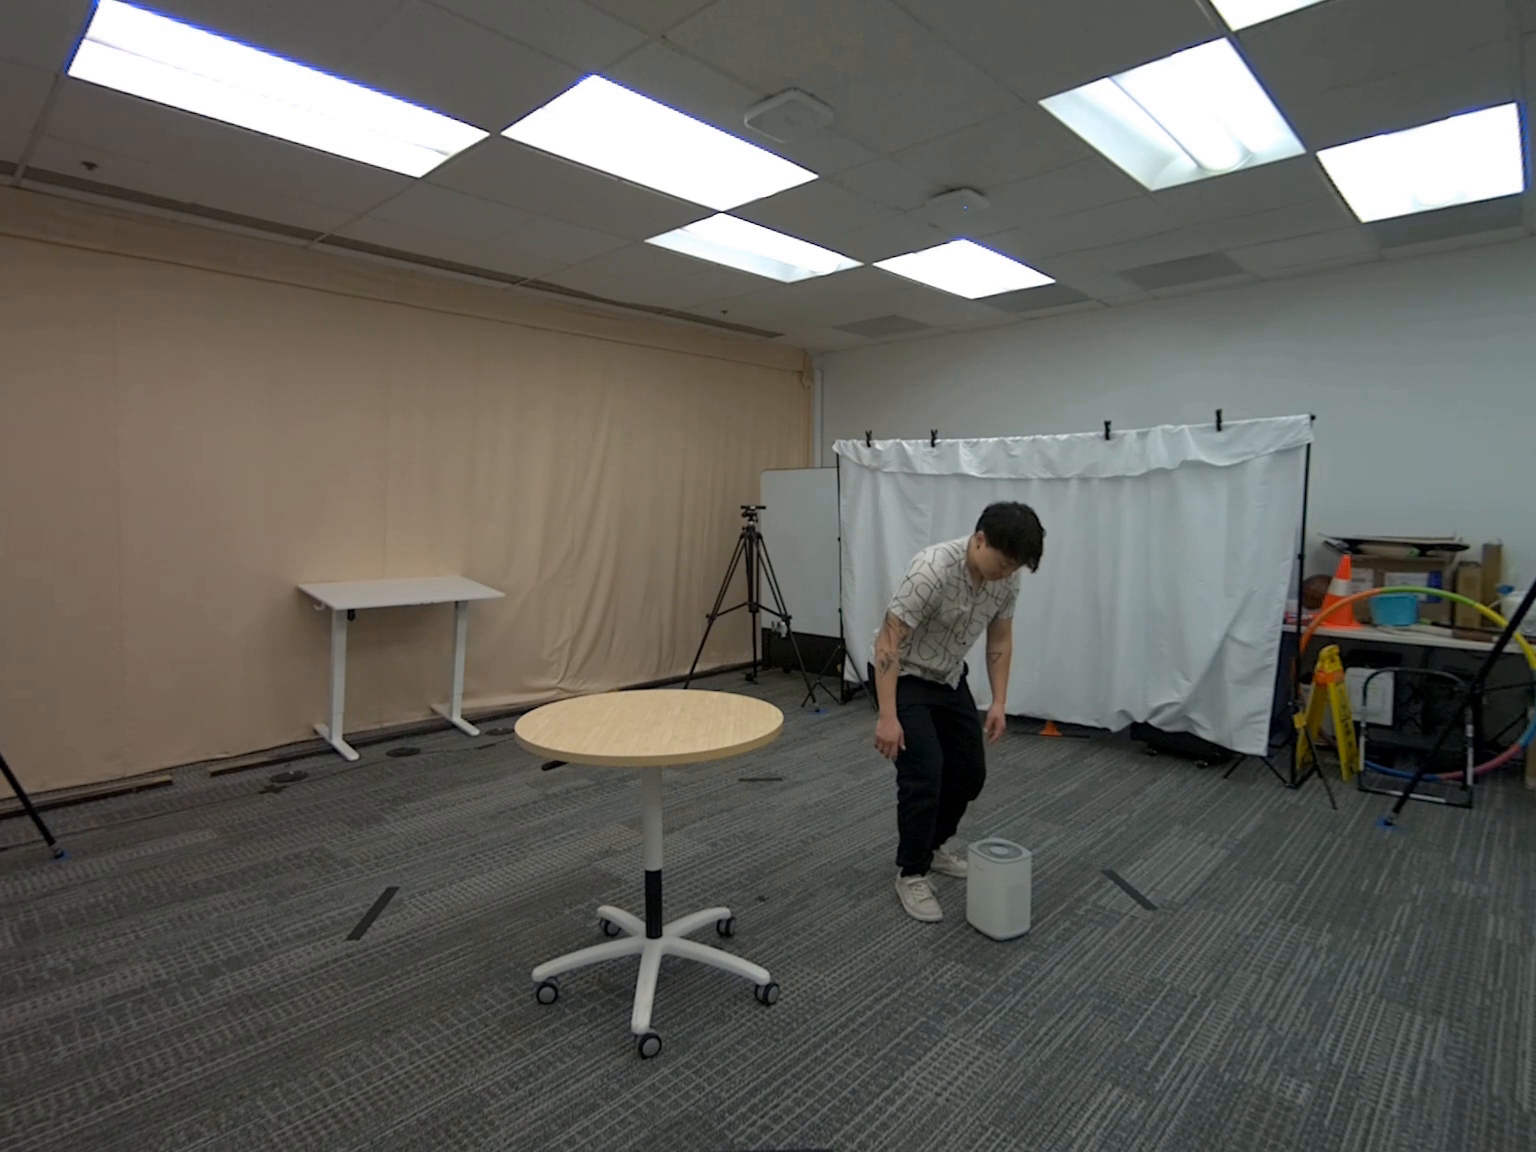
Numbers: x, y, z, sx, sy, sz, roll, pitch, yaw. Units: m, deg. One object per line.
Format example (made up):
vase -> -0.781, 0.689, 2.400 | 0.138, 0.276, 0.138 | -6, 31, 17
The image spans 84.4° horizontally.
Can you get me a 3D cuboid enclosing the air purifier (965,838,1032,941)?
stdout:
air purifier -> 0.756, 1.019, 2.763 | 0.167, 0.264, 0.176 | -3, 5, -31
